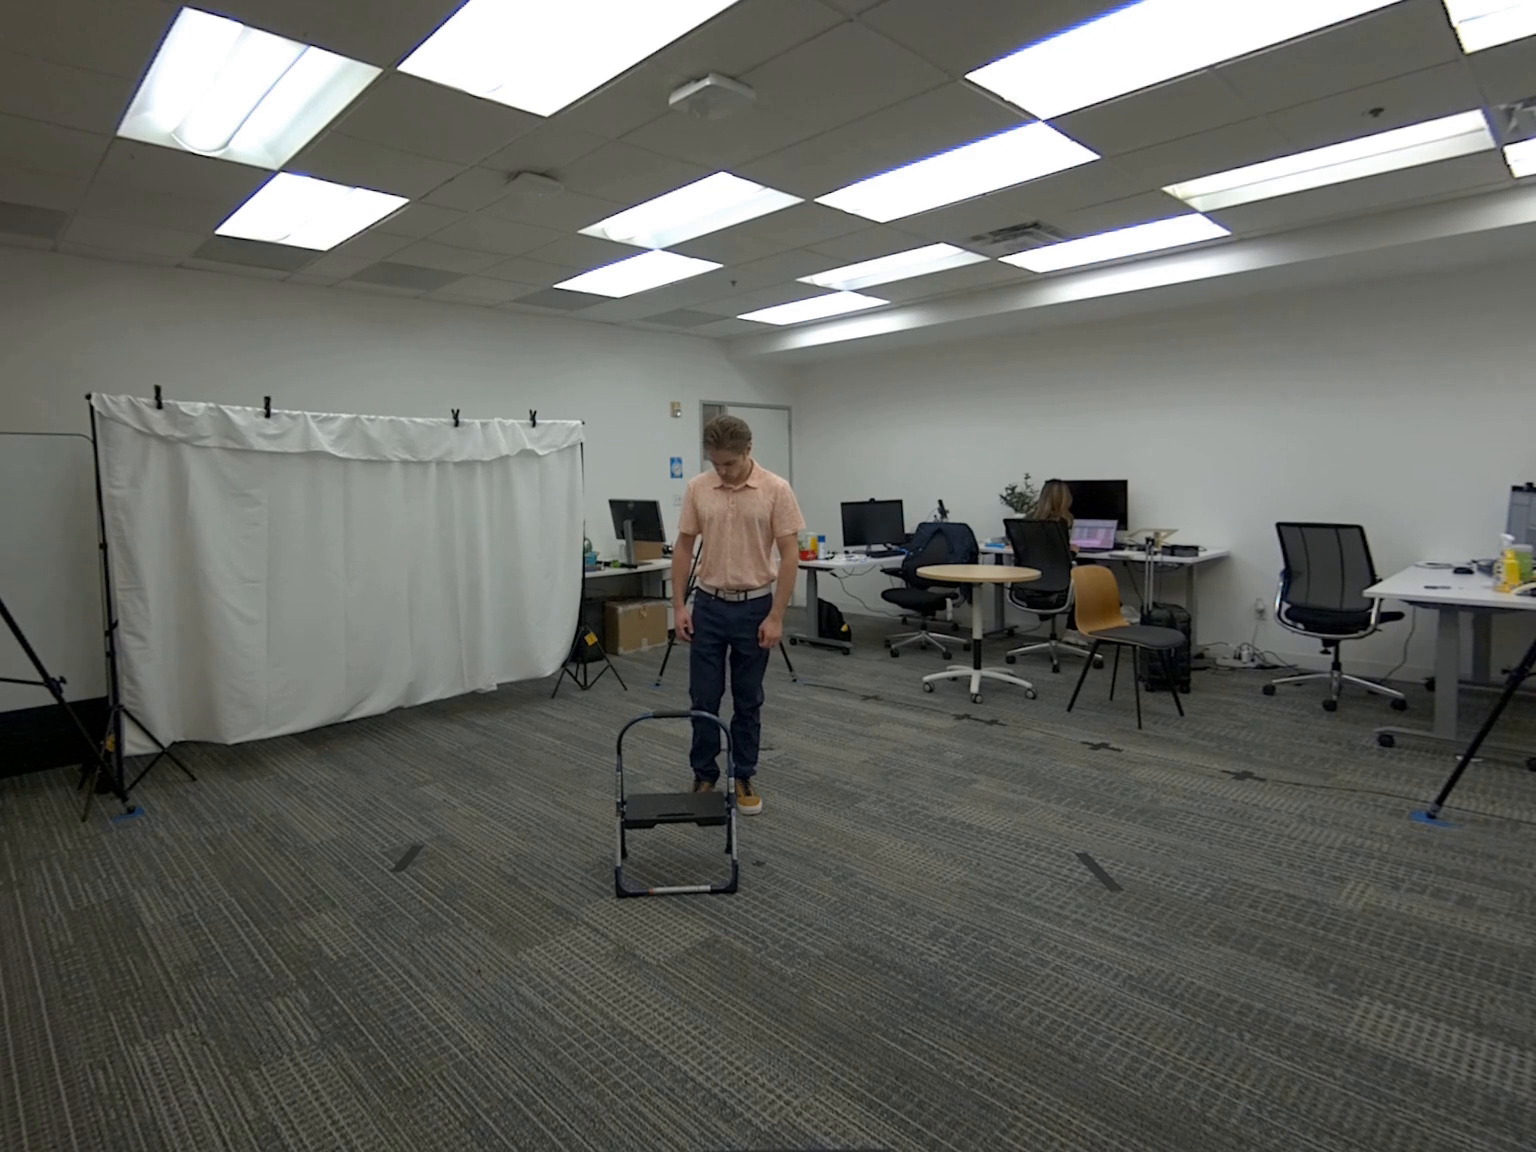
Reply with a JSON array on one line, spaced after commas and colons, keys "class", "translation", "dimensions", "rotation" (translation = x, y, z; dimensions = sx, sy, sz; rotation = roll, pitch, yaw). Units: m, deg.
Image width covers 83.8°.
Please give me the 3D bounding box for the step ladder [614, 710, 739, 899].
[{"class": "step ladder", "translation": [-0.332, 0.761, 3.020], "dimensions": [0.429, 0.603, 0.352], "rotation": [-2, 6, -4]}]
